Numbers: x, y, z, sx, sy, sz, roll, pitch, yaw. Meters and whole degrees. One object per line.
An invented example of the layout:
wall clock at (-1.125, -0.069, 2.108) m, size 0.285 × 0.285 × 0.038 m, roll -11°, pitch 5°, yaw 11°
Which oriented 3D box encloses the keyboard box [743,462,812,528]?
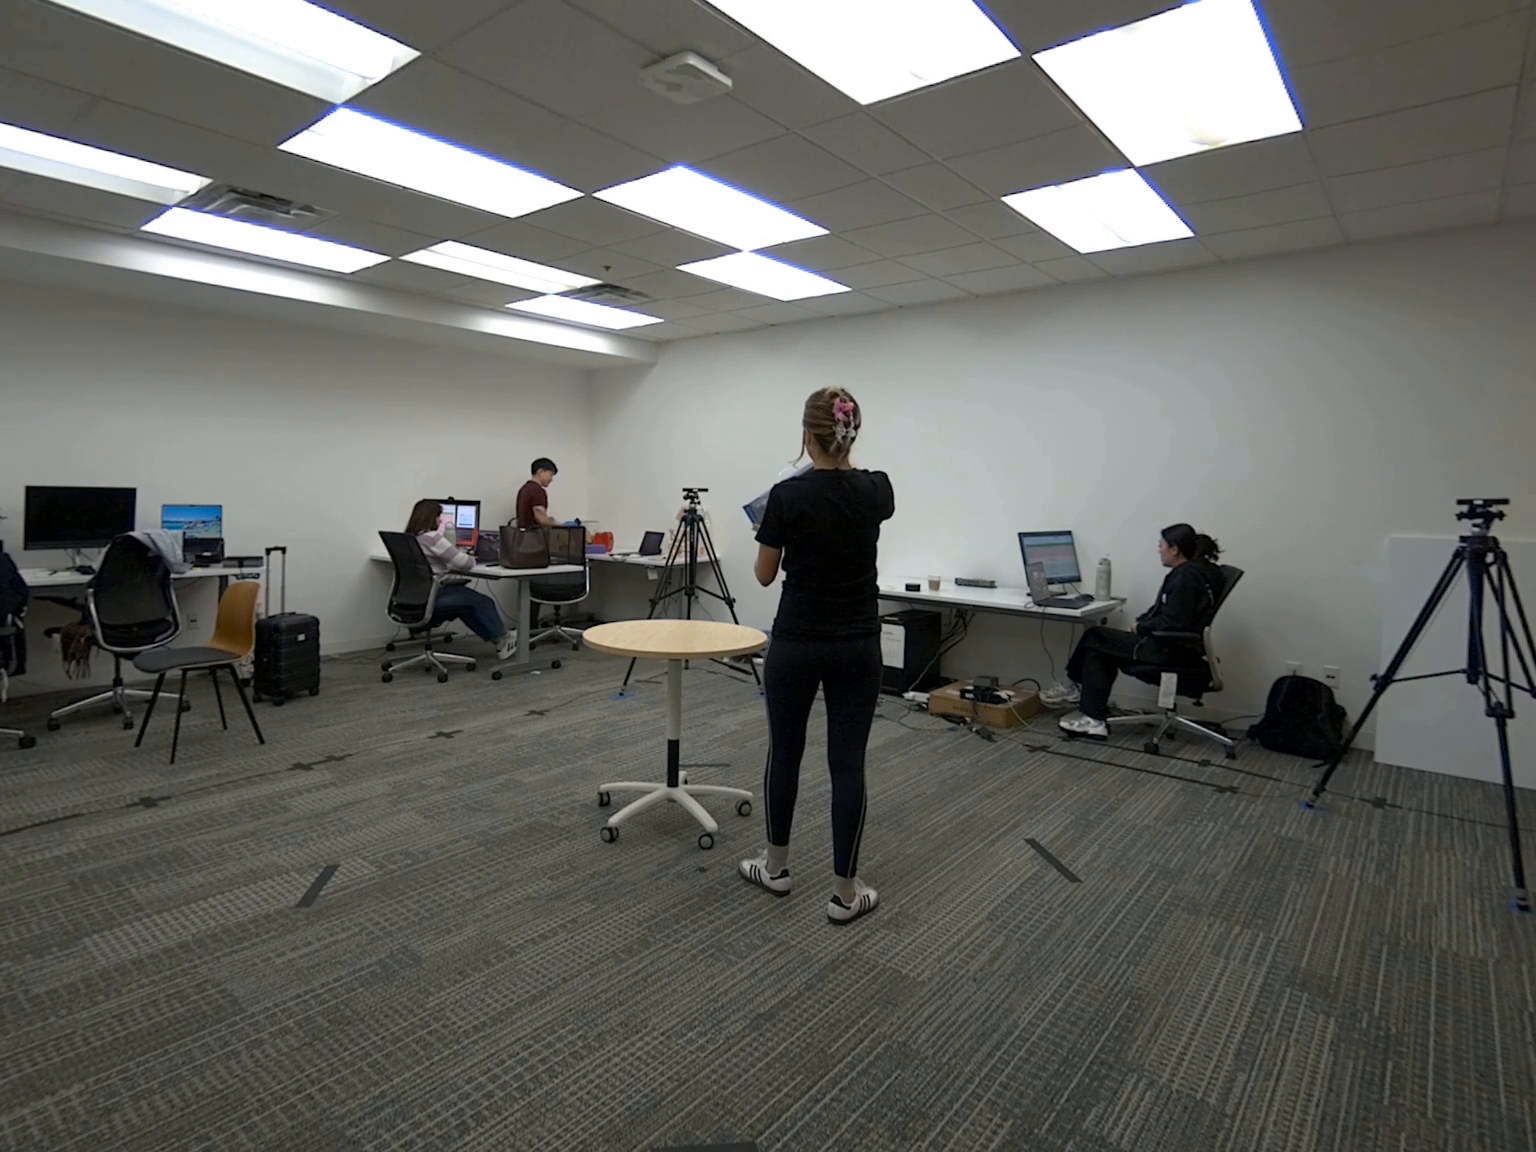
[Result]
keyboard box at (0.108, -0.305, 3.285) m, size 0.434 × 0.174 × 0.060 m, roll -36°, pitch 7°, yaw -23°
